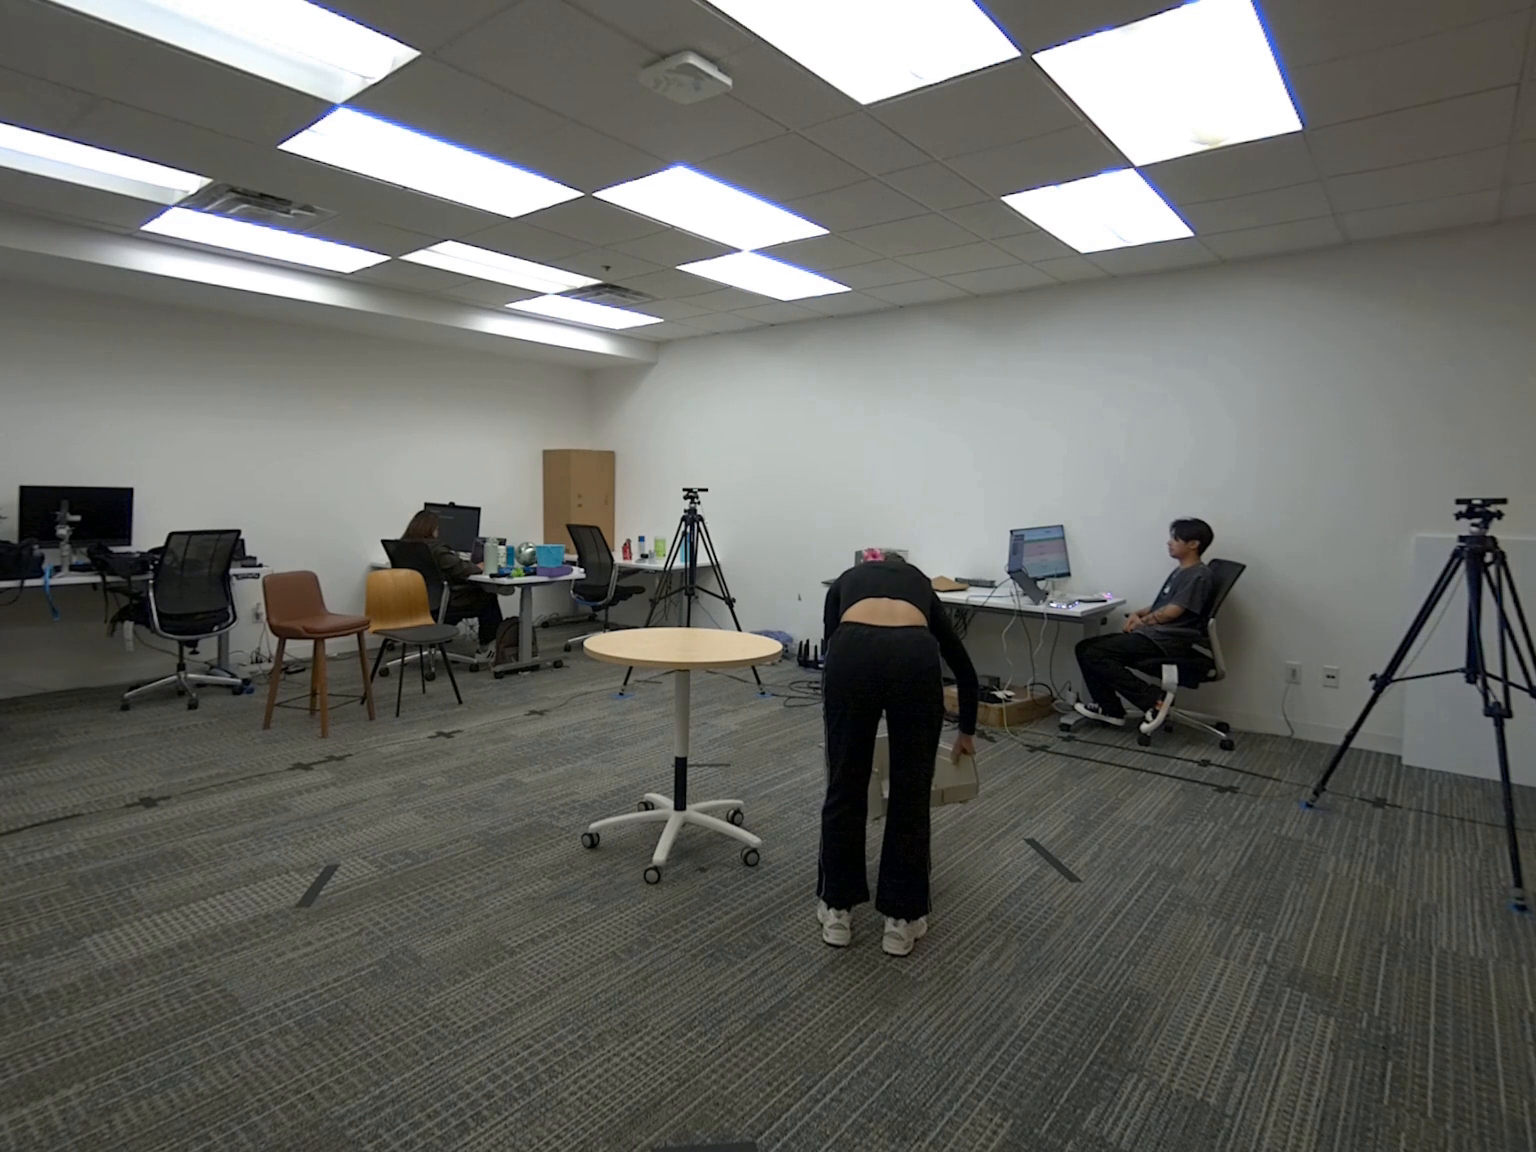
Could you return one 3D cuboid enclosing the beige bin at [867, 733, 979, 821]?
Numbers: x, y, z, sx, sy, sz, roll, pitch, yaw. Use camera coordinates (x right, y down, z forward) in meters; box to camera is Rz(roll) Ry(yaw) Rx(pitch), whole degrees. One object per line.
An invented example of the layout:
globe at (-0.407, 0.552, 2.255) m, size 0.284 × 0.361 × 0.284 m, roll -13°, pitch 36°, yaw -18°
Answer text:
beige bin at (0.463, 0.705, 3.007) m, size 0.412 × 0.188 × 0.388 m, roll -3°, pitch 4°, yaw -27°
